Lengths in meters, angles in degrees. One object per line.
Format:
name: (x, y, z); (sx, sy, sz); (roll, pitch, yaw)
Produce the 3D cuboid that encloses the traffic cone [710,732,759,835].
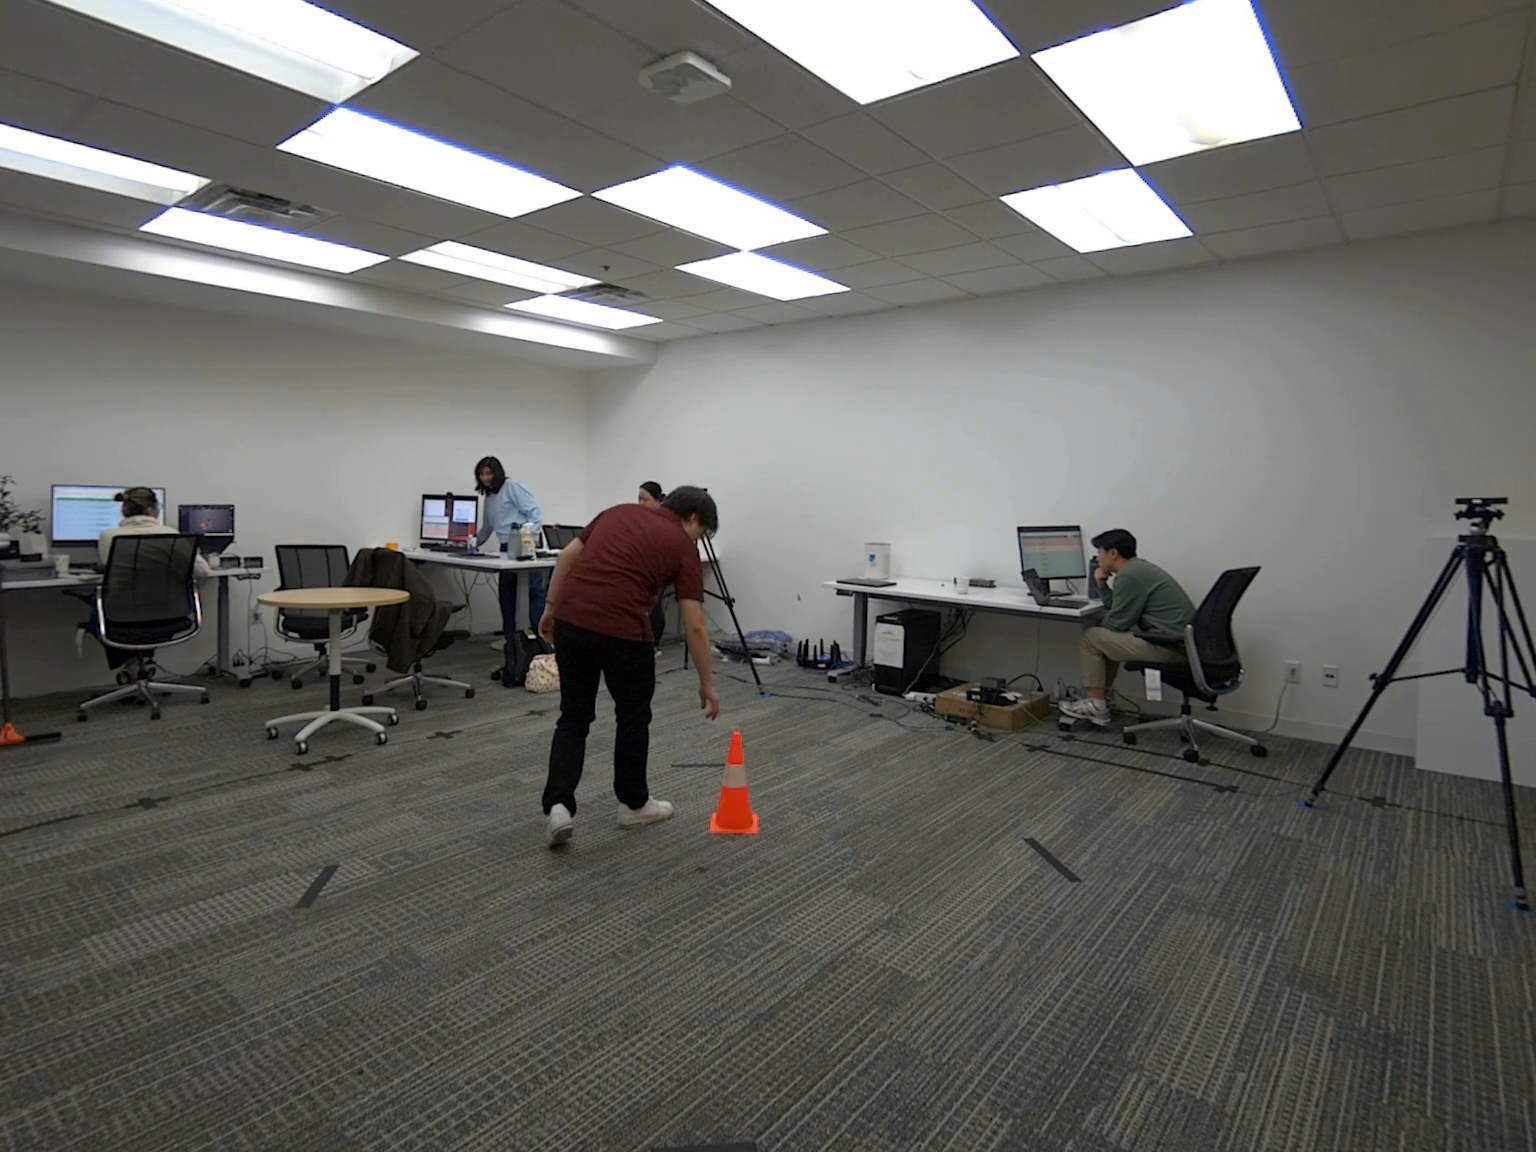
traffic cone: (-0.151, 0.850, 3.544); (0.204, 0.383, 0.204); (2, 2, 4)
